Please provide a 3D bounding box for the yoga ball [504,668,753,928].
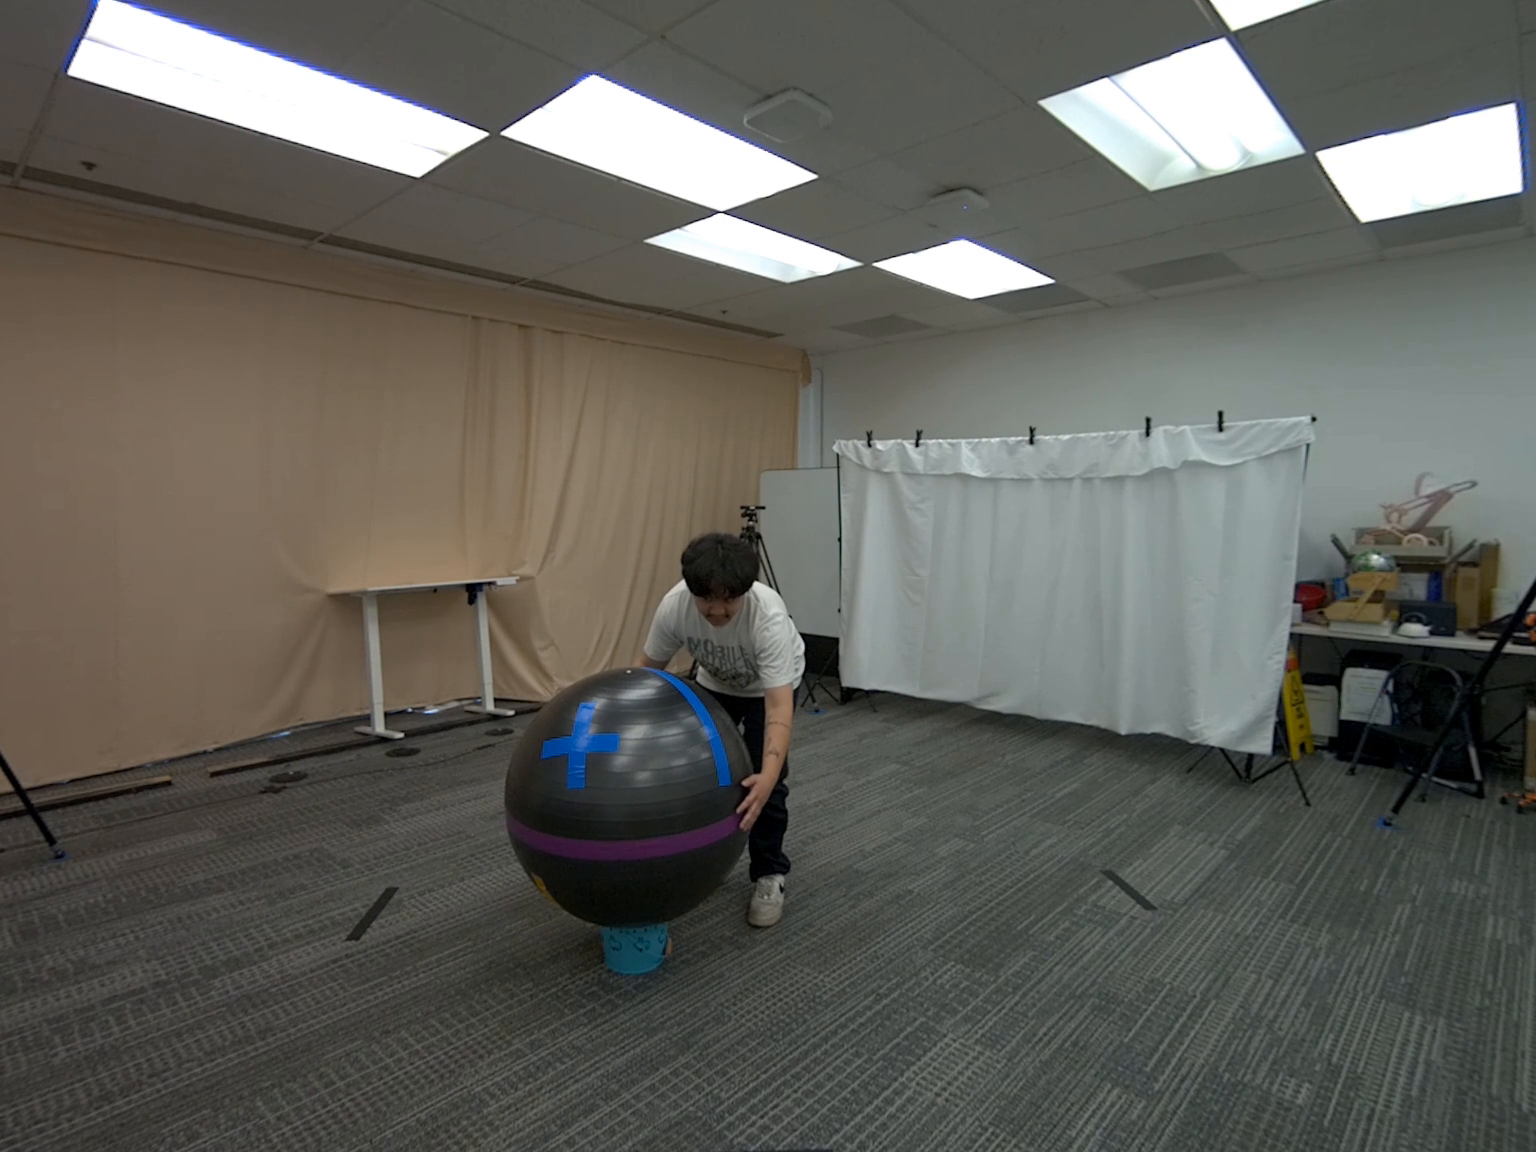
[{"bbox_3d":[-0.417,0.666,2.578,0.757,0.756,0.760,0,4,-2],"label":"yoga ball"}]
